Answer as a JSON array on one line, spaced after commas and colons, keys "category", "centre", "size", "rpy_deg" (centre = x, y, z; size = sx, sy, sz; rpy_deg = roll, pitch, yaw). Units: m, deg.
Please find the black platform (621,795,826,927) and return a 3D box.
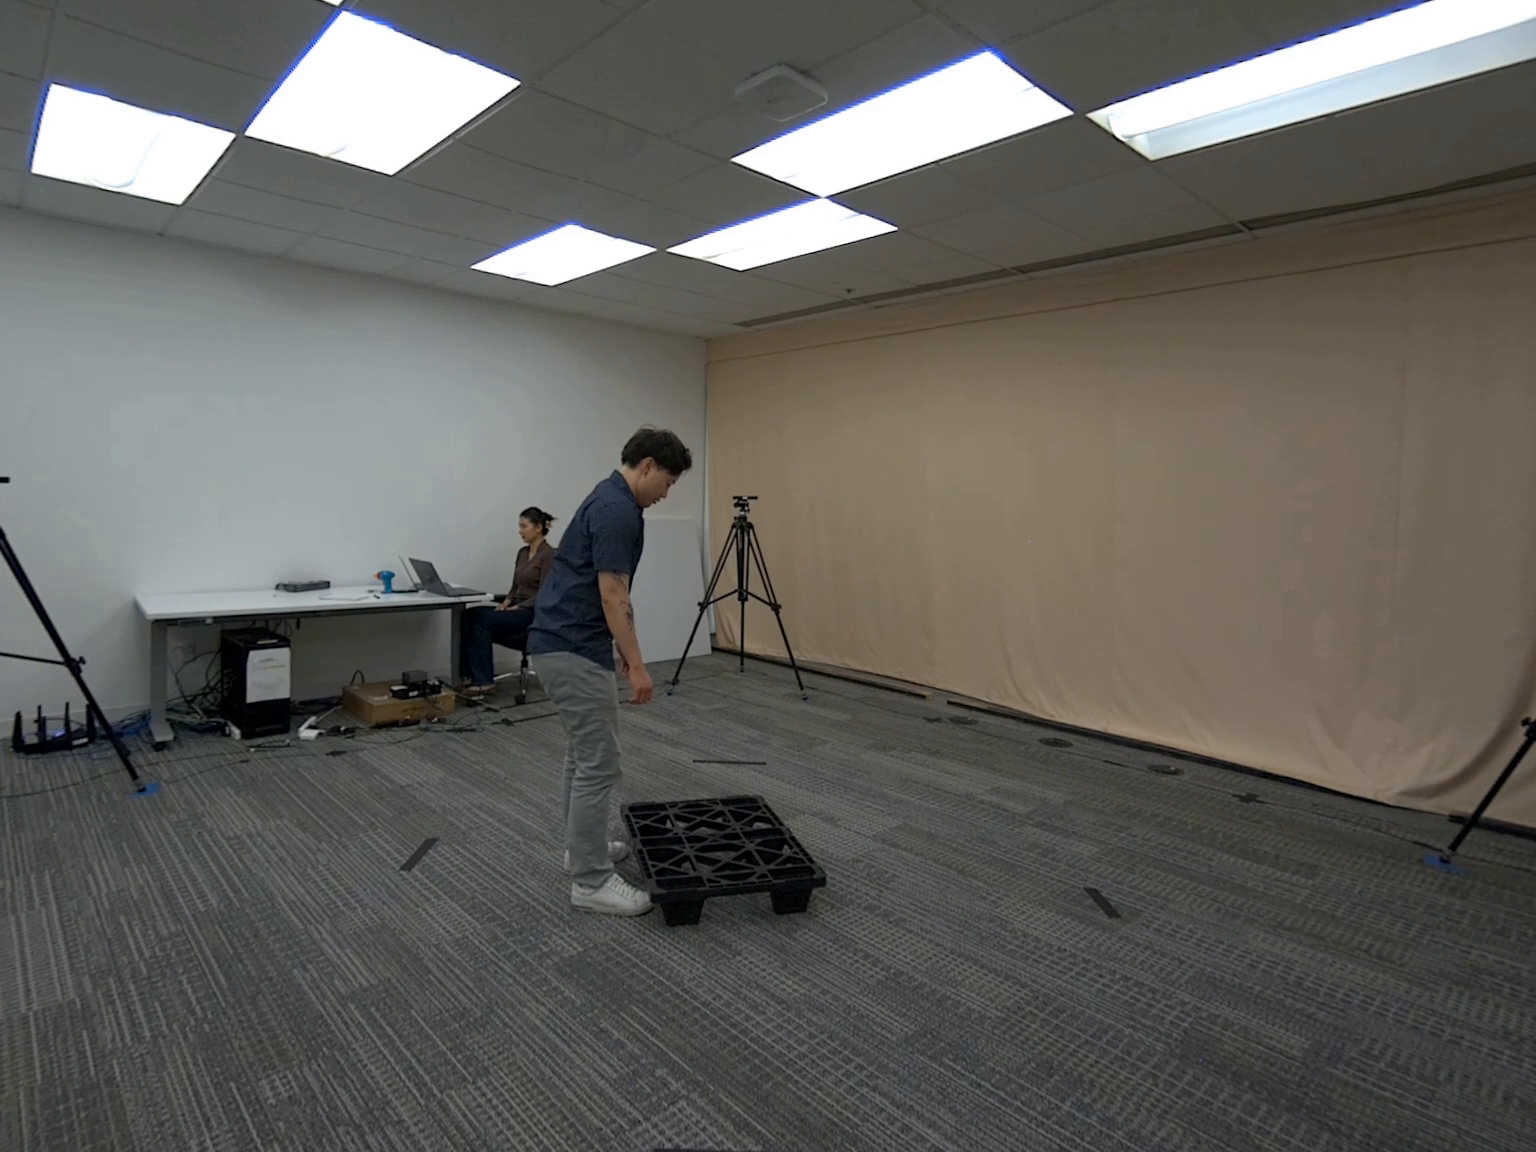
[{"category": "black platform", "centre": [-0.204, 1.033, 3.125], "size": [0.598, 0.143, 0.818], "rpy_deg": [0, 6, -16]}]
